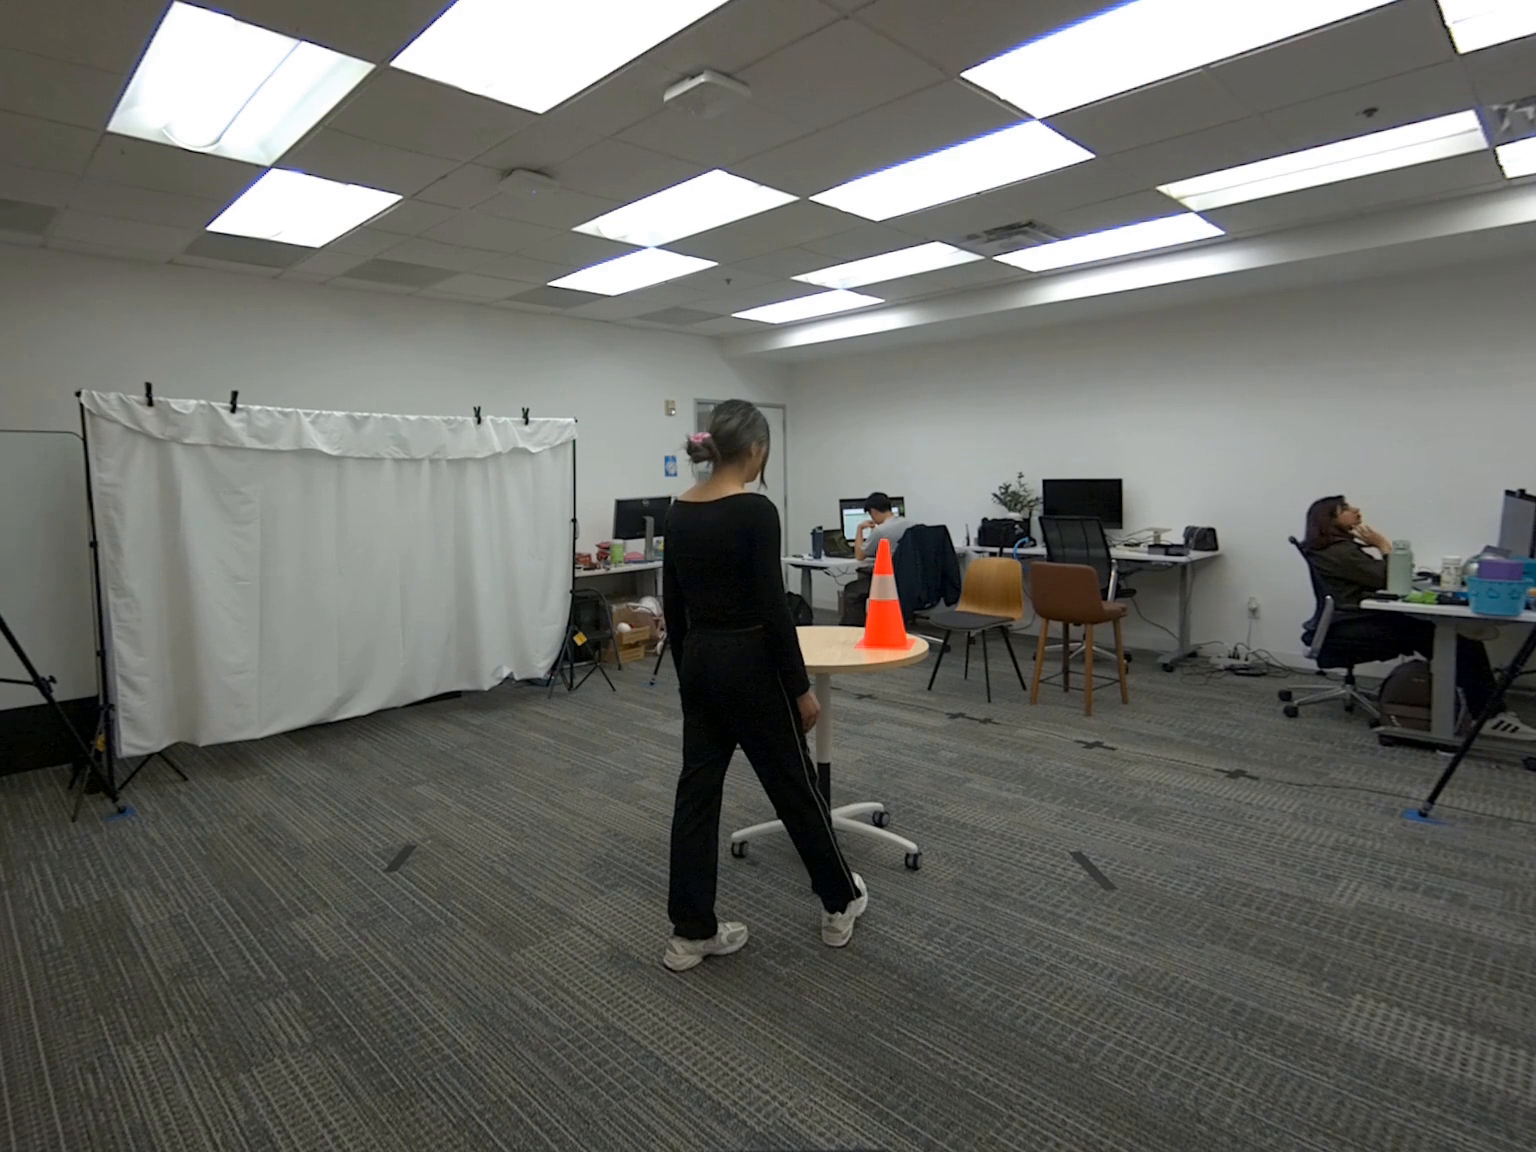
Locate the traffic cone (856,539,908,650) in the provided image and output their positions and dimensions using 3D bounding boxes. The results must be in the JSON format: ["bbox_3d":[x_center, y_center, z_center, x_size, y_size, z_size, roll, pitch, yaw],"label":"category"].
[{"bbox_3d":[0.426,0.061,3.091,0.206,0.382,0.203,1,6,6],"label":"traffic cone"}]
